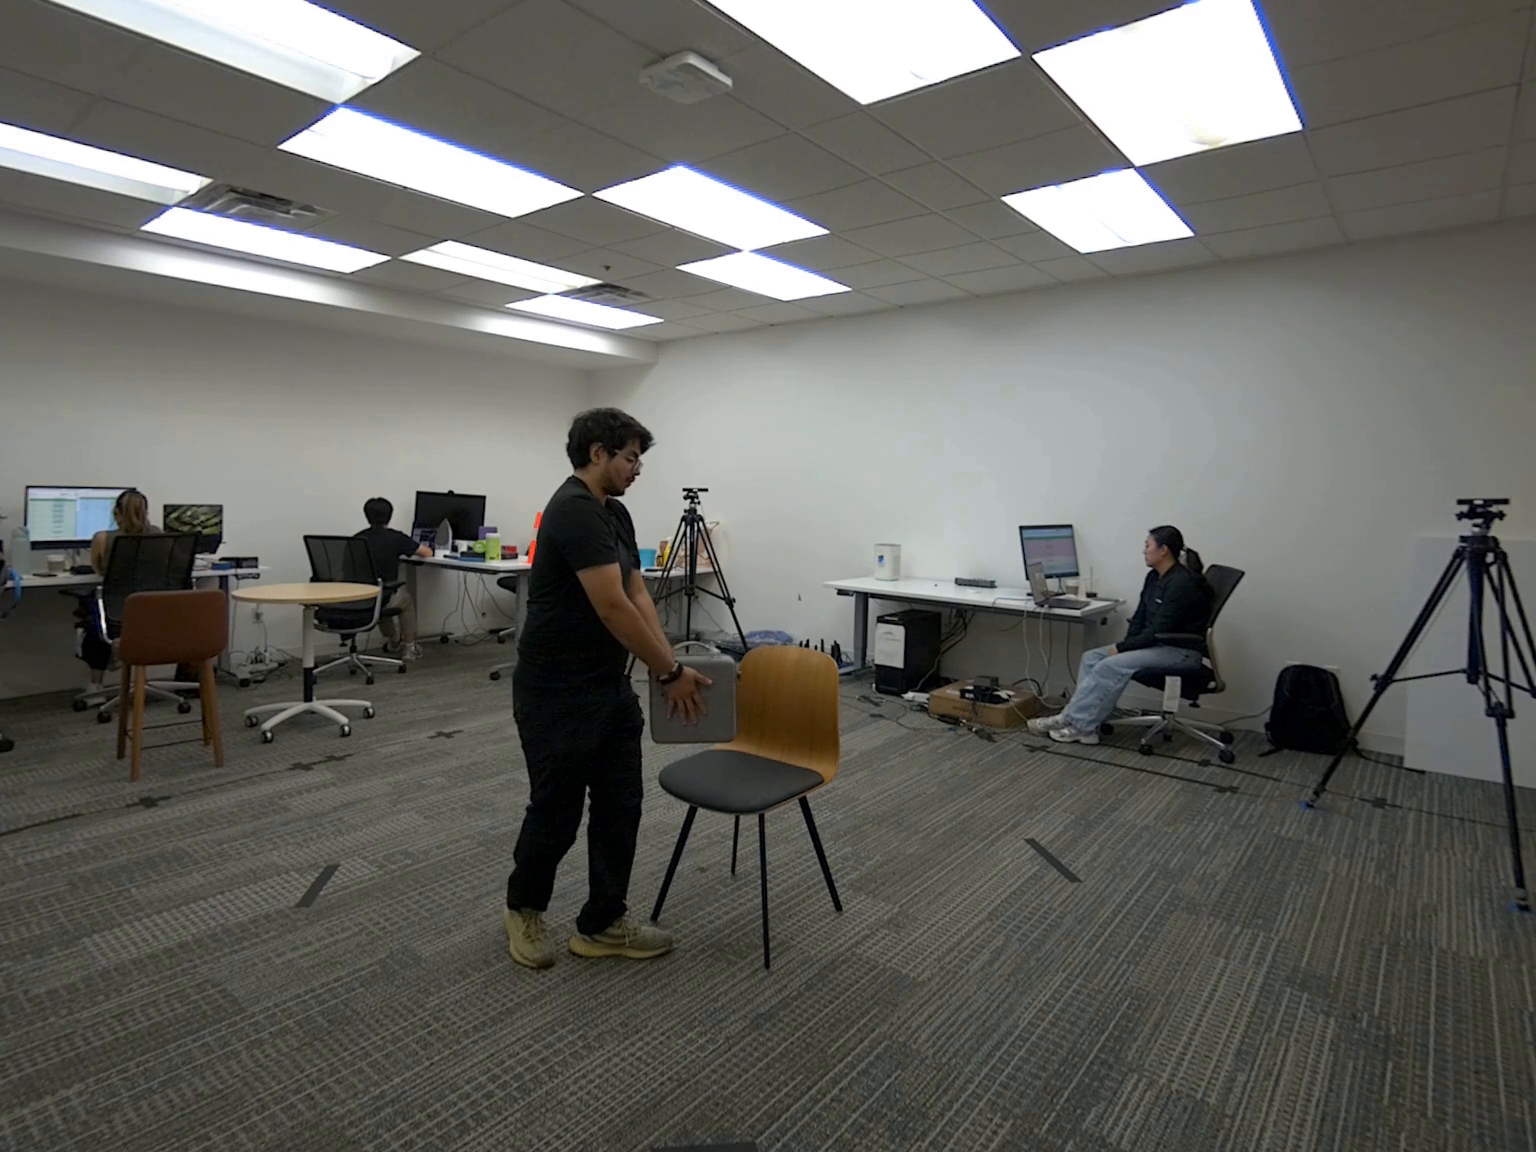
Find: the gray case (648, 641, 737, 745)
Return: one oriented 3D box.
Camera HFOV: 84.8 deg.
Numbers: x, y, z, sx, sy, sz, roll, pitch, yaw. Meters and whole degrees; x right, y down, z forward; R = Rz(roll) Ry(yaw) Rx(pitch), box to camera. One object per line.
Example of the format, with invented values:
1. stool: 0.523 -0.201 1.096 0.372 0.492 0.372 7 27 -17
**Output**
1. gray case: -0.228 0.359 2.495 0.257 0.260 0.104 -2 1 1
